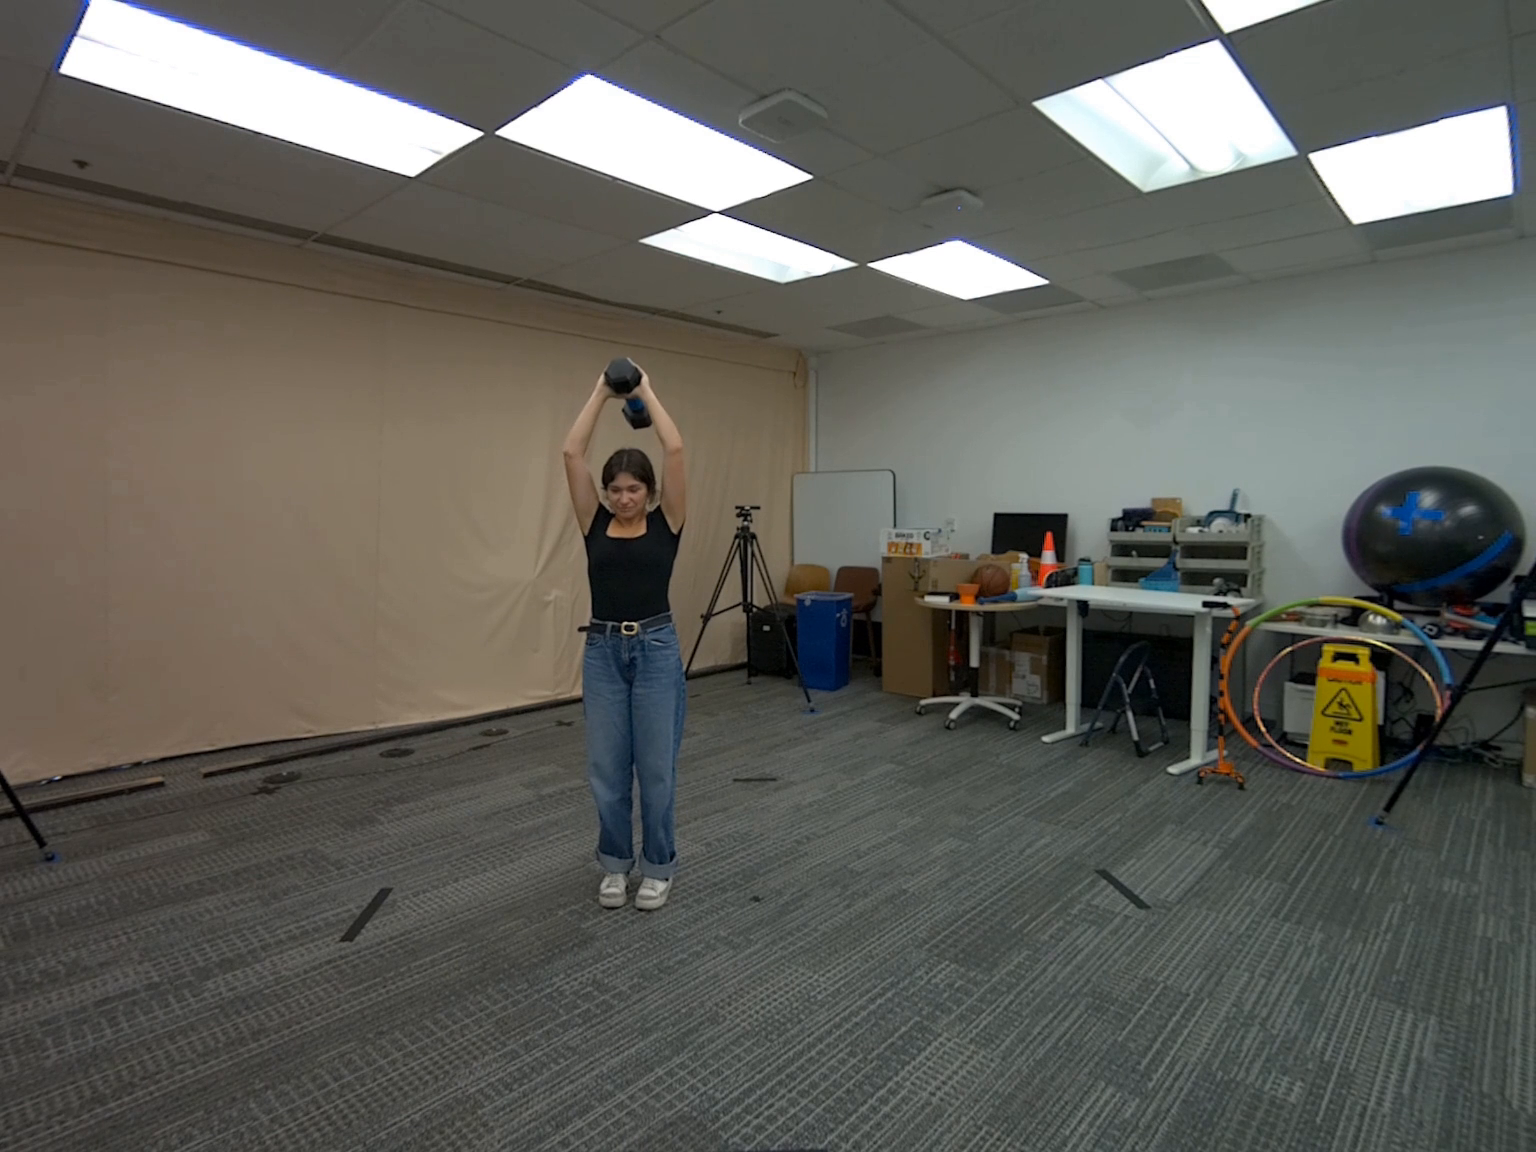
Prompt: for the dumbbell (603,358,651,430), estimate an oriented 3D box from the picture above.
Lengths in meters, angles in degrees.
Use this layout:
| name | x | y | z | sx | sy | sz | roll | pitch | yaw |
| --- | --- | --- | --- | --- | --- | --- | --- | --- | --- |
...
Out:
| name | x | y | z | sx | sy | sz | roll | pitch | yaw |
| --- | --- | --- | --- | --- | --- | --- | --- | --- | --- |
| dumbbell | -0.496 | -0.654 | 3.050 | 0.111 | 0.123 | 0.286 | 22 | -21 | 19 |
